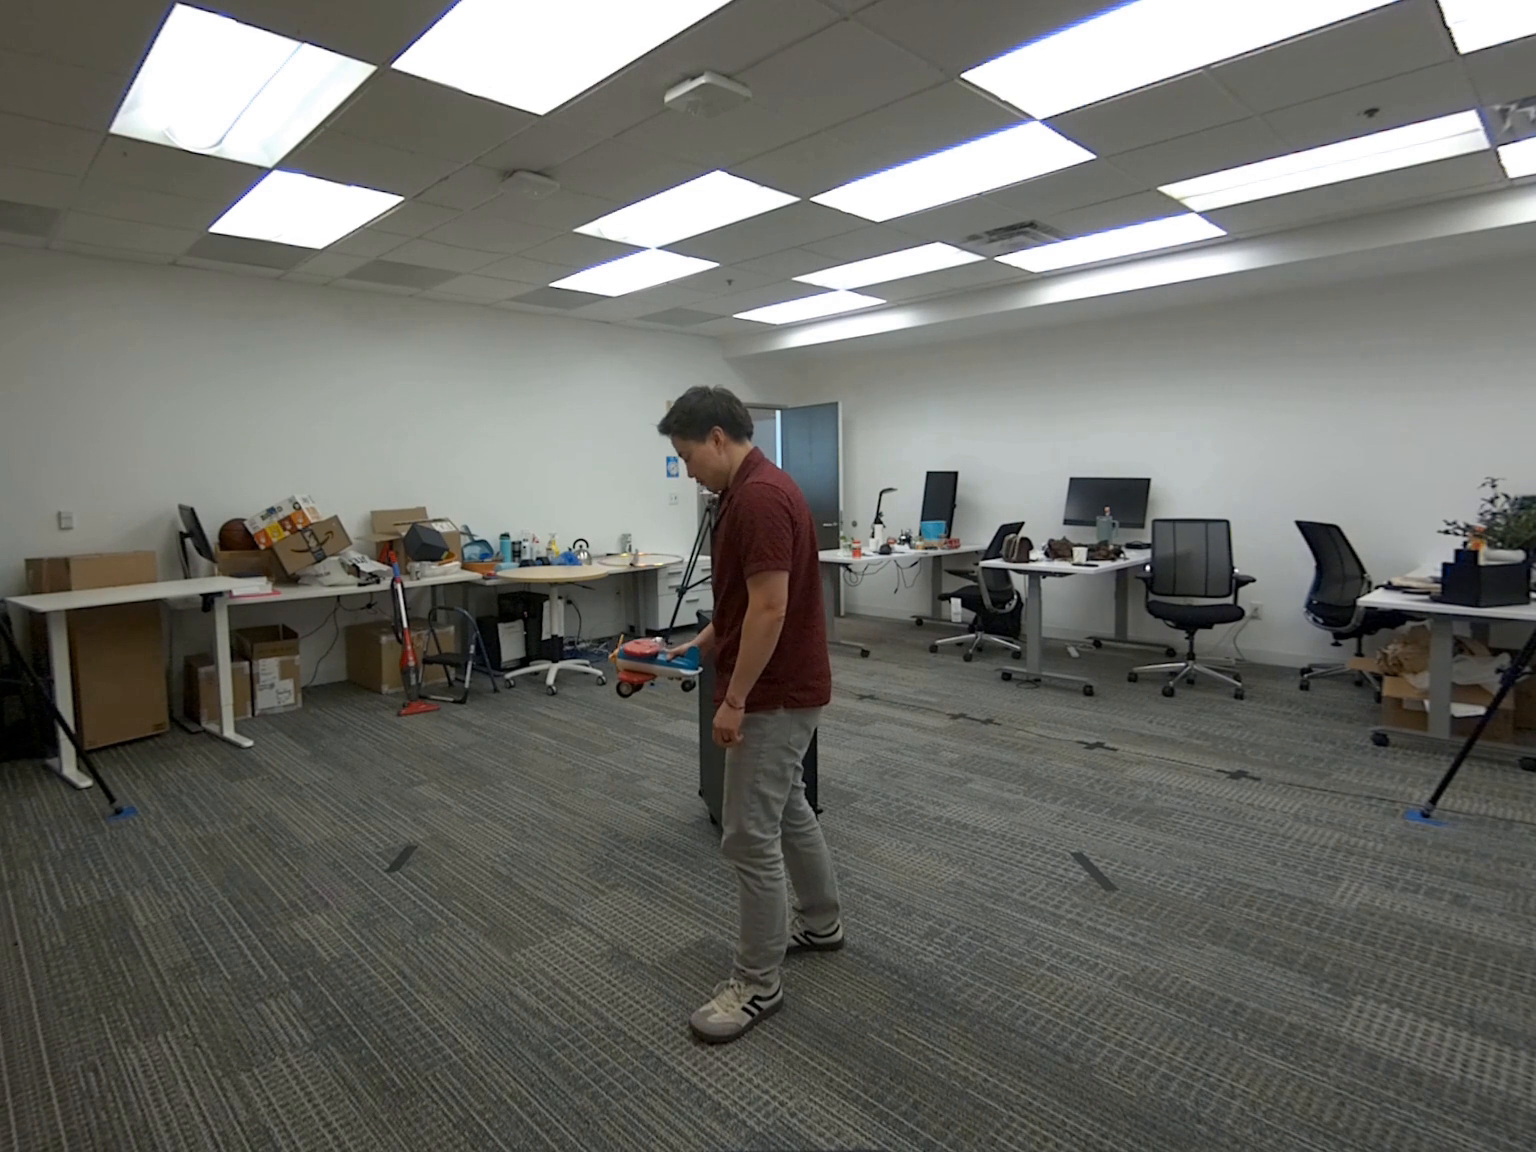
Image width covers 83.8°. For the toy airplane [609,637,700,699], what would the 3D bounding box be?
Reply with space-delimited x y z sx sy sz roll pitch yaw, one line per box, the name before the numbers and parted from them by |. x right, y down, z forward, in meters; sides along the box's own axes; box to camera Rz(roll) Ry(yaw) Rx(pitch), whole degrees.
toy airplane | -0.326 0.267 2.493 0.255 0.156 0.255 -8 1 -19
